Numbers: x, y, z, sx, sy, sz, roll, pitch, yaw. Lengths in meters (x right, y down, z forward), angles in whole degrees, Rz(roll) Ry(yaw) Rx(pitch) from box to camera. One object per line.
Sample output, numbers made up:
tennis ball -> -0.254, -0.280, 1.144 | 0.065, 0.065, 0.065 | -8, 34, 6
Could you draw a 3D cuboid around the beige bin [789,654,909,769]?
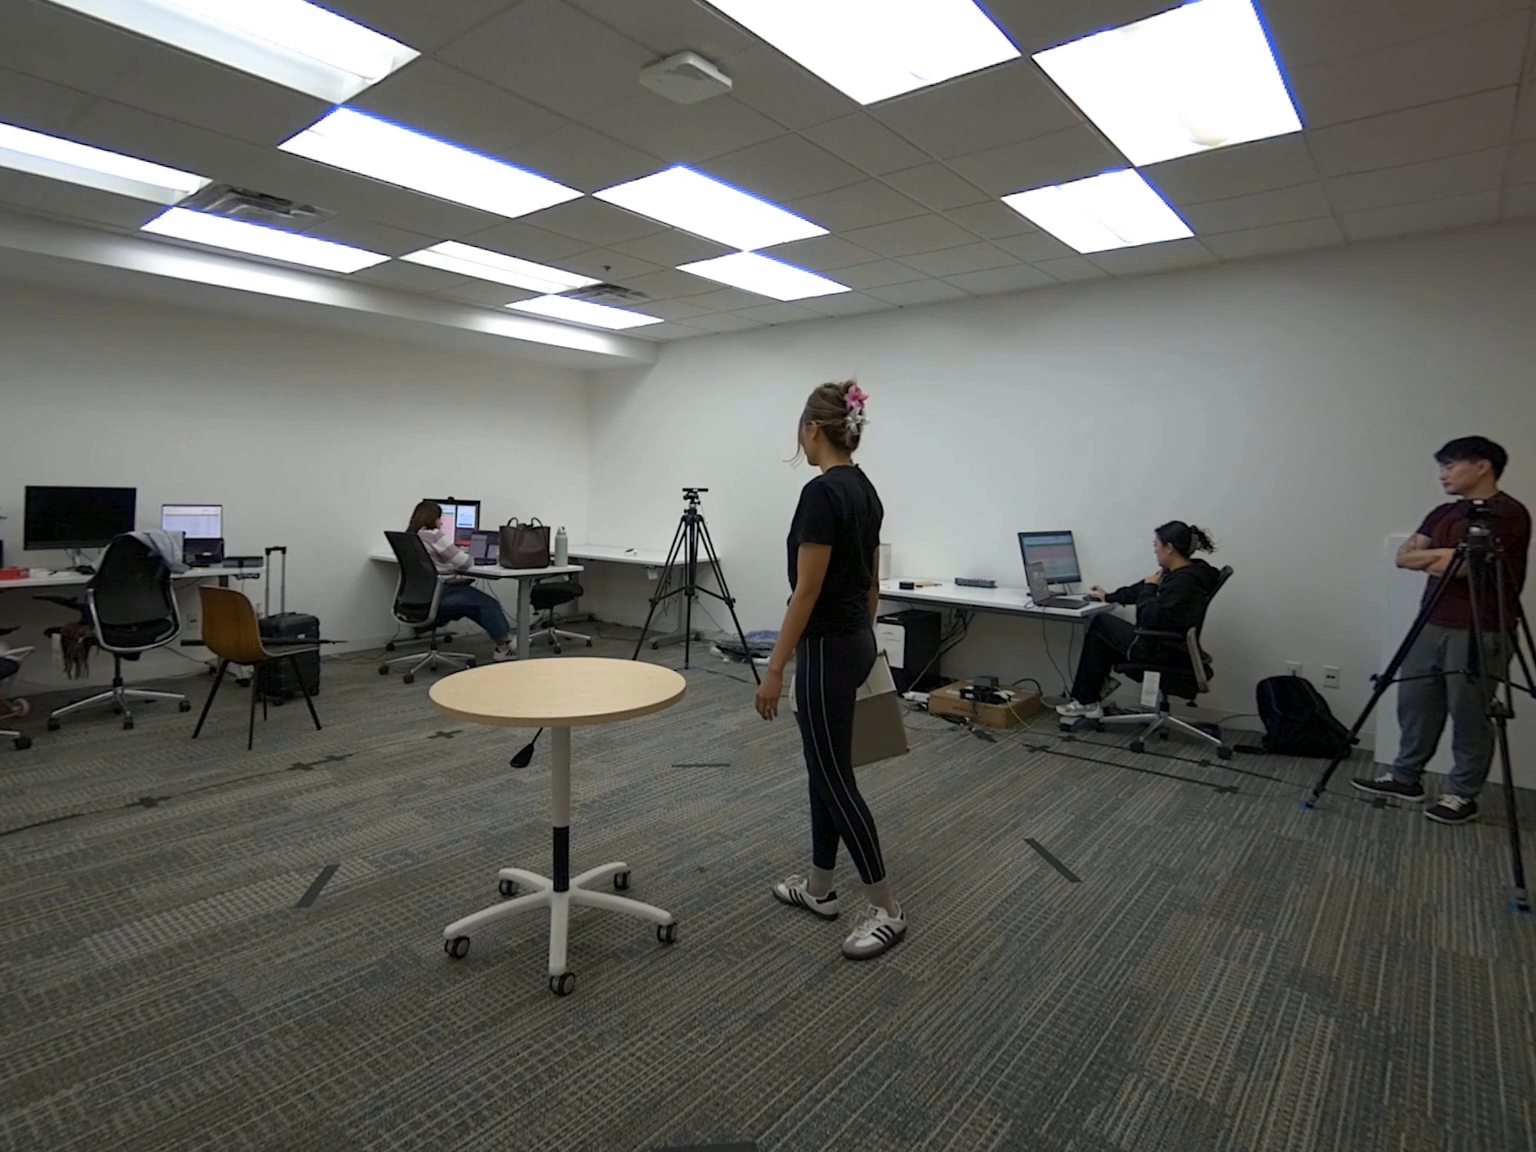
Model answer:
beige bin -> 0.291, 0.507, 3.130 | 0.379, 0.406, 0.195 | -15, 44, 5
